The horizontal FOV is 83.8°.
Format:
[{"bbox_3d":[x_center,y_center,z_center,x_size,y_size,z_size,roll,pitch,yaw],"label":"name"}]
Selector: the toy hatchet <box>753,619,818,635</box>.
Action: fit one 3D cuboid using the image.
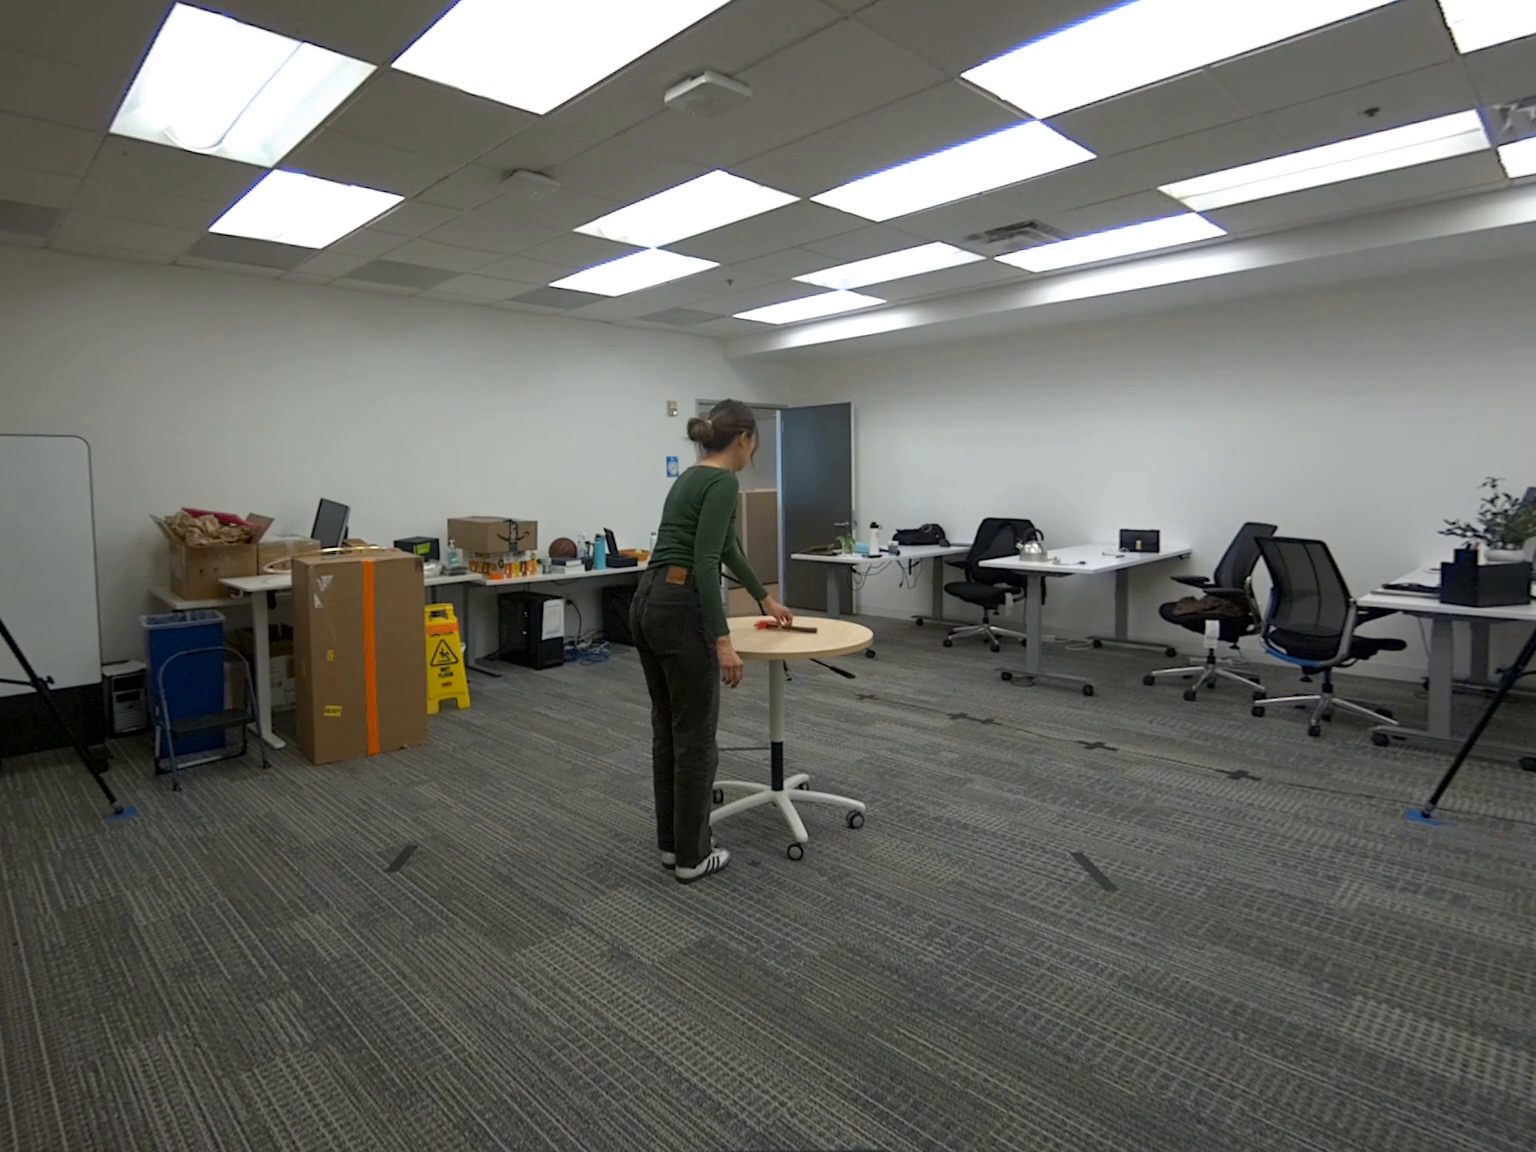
[{"bbox_3d":[0.089,0.206,3.482,0.275,0.029,0.129,3,7,18],"label":"toy hatchet"}]
